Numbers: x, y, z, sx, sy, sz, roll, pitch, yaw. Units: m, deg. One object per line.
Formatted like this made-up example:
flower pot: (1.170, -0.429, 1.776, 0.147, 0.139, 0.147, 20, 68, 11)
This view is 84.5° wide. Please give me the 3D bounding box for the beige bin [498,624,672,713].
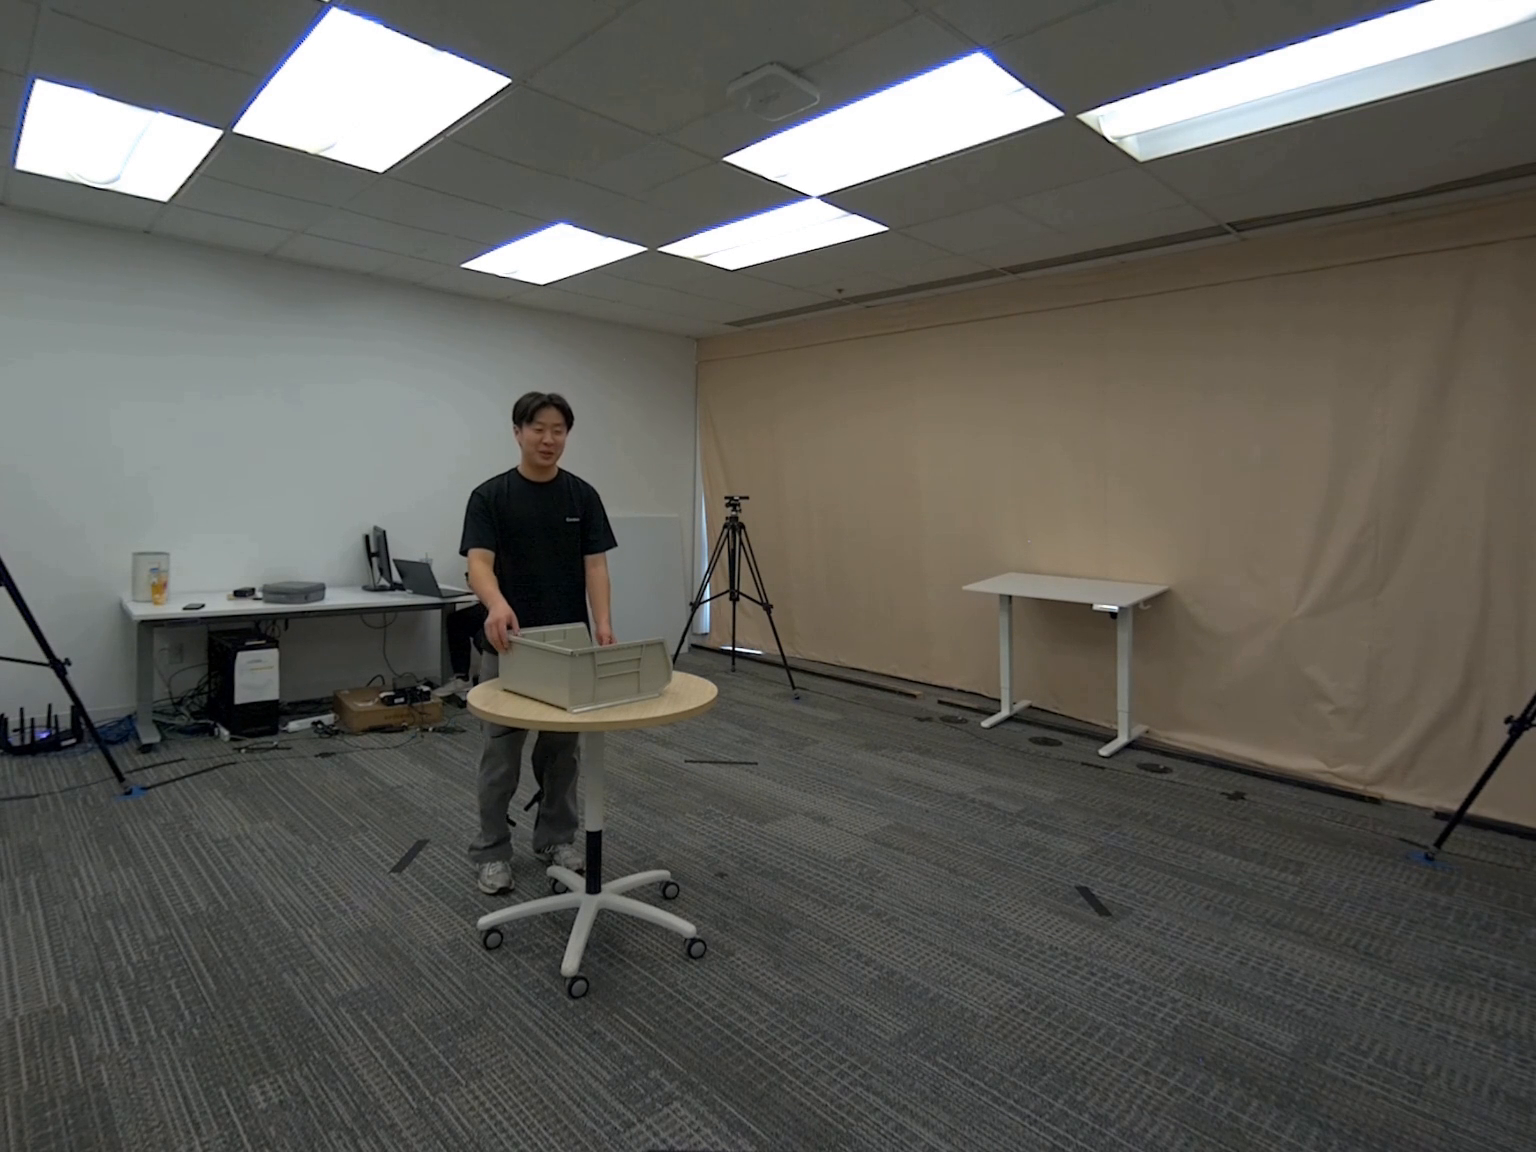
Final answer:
beige bin: (-0.568, 0.269, 2.590, 0.369, 0.188, 0.433, -4, 7, -45)
